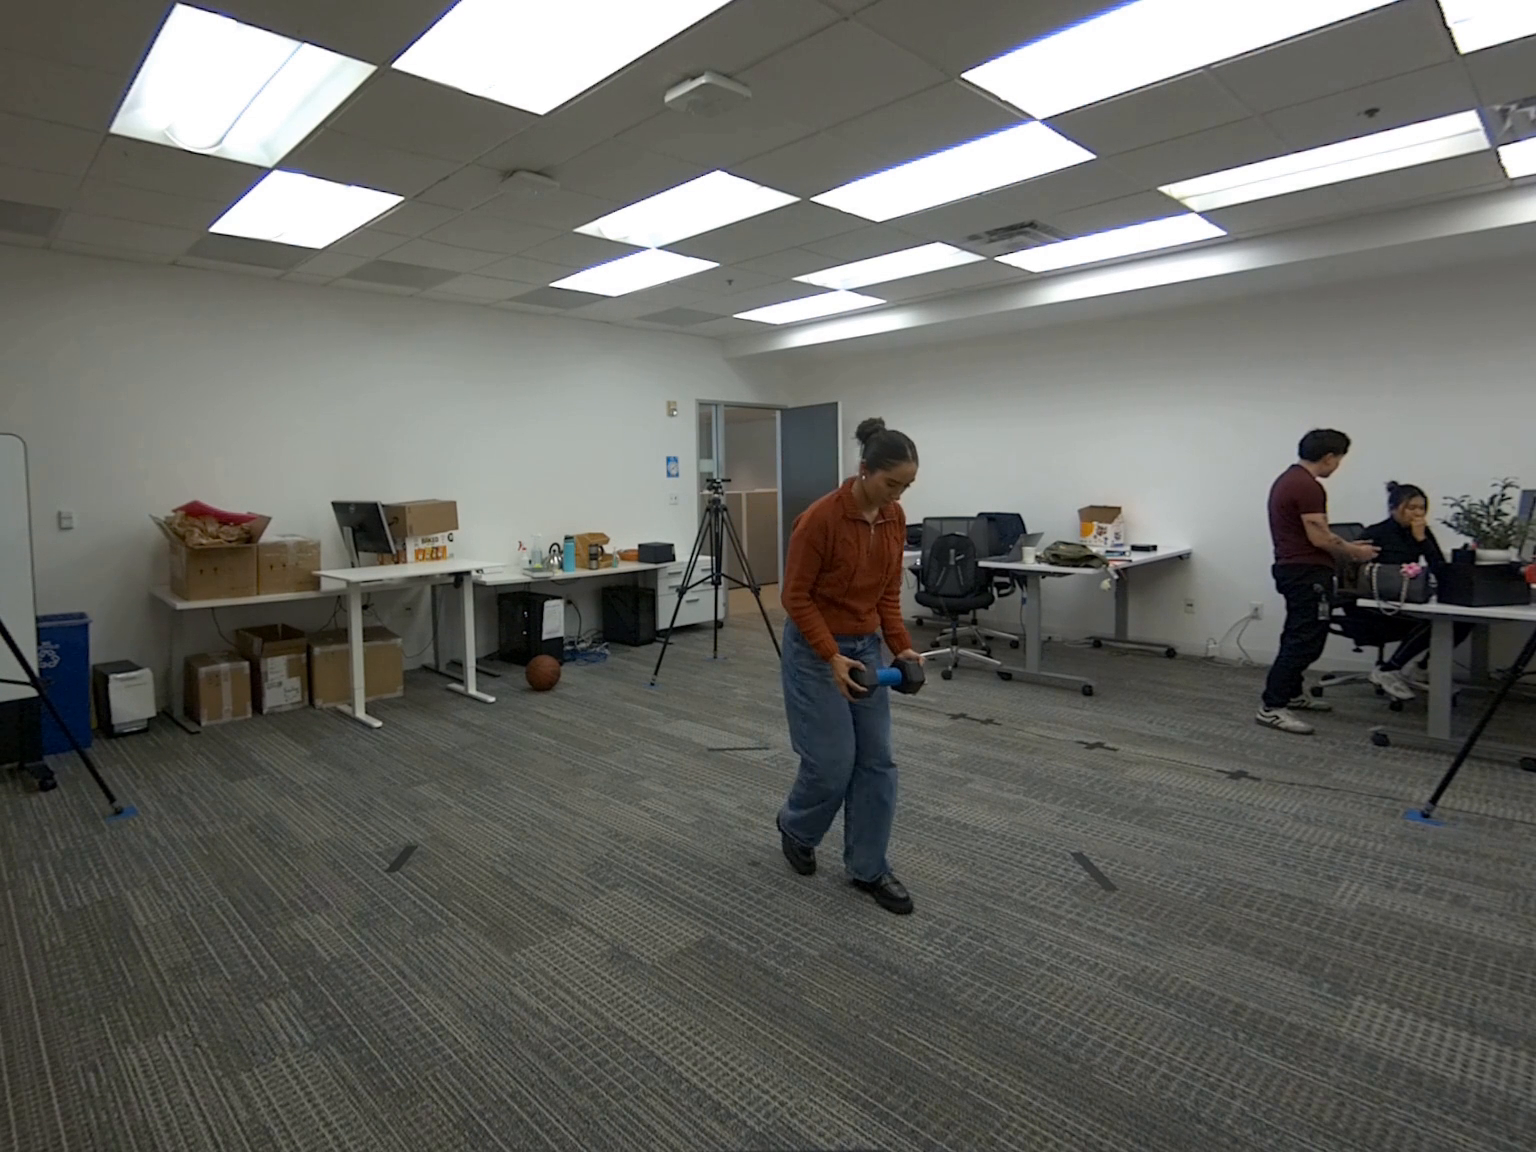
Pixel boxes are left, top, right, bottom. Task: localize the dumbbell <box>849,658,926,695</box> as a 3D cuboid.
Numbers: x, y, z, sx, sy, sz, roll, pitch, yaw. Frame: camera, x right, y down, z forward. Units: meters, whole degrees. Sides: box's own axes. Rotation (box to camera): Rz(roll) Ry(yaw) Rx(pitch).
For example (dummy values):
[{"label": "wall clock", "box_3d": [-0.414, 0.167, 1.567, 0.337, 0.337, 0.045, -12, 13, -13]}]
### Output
[{"label": "dumbbell", "box_3d": [0.362, 0.337, 2.775, 0.286, 0.125, 0.109, -2, -18, -32]}]
